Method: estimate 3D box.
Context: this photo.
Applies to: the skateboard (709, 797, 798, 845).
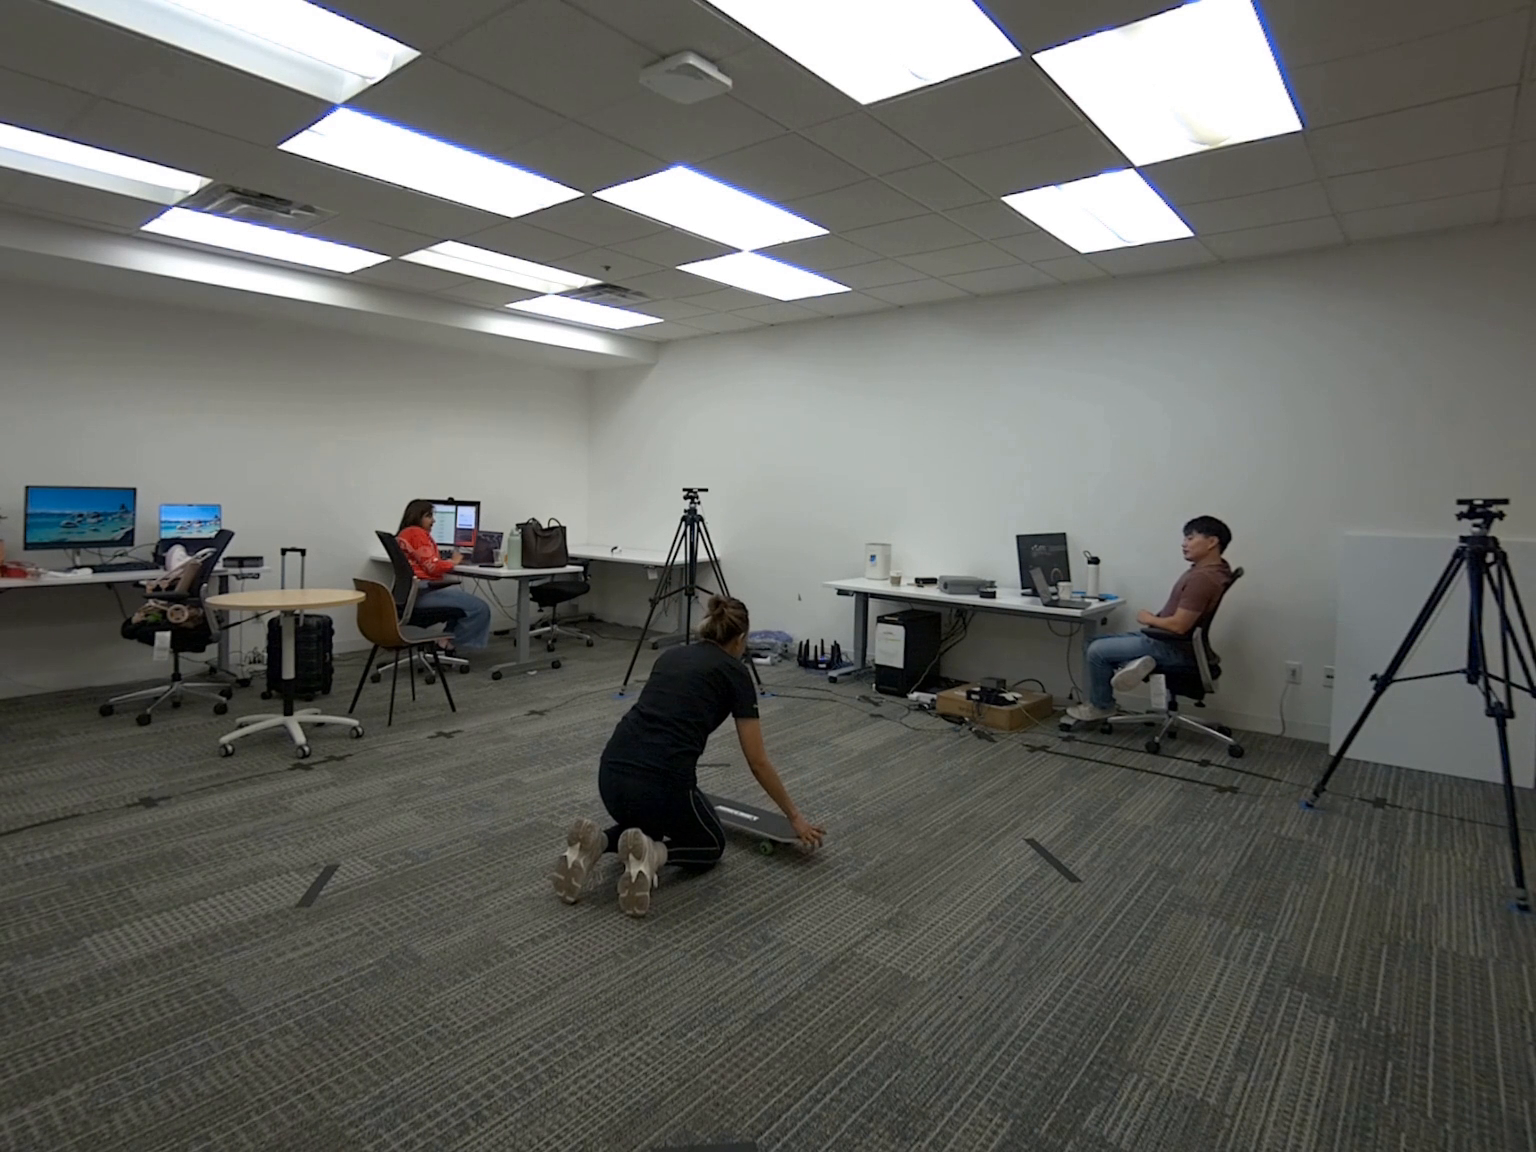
[{"bbox_3d":[-0.136,0.985,3.429,0.811,0.110,0.188,6,6,35],"label":"skateboard"}]
